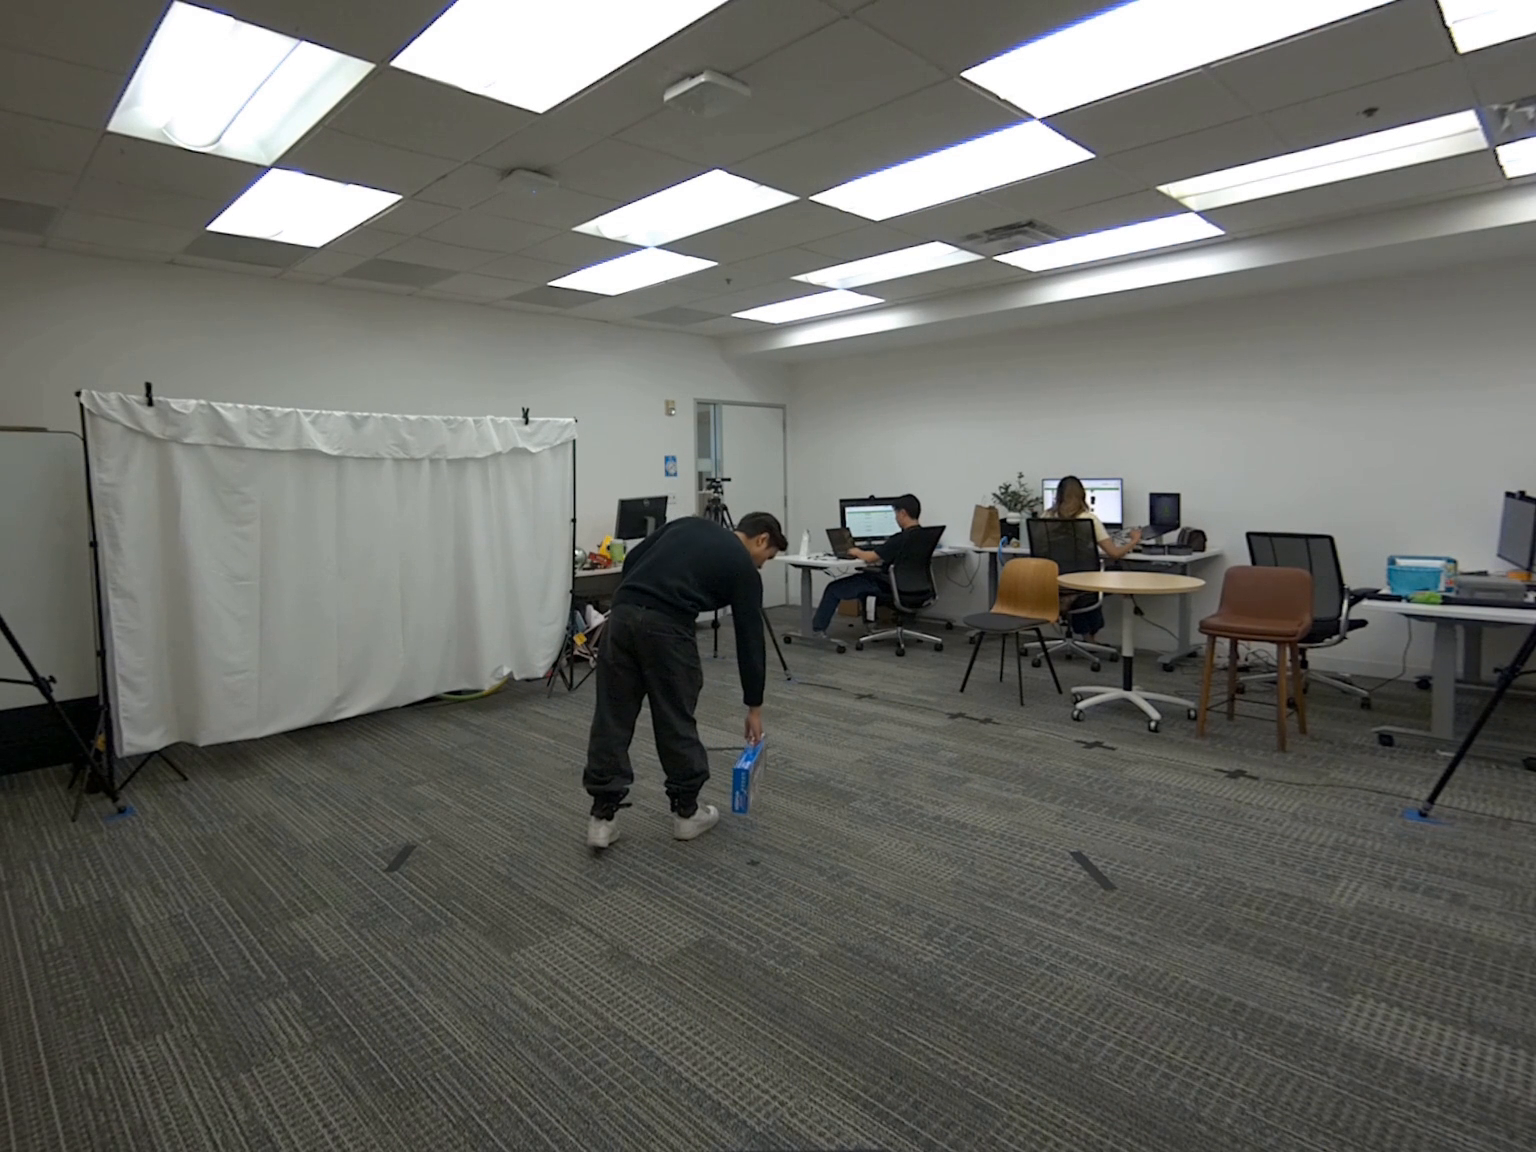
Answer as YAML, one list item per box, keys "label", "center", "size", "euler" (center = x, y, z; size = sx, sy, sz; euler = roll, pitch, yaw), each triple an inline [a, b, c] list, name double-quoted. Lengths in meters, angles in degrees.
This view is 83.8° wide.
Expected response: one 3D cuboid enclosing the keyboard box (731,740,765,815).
- label: "keyboard box"
  center: [-0.066, 0.767, 3.376]
  size: [0.060, 0.175, 0.434]
  euler: [3, 7, 9]
